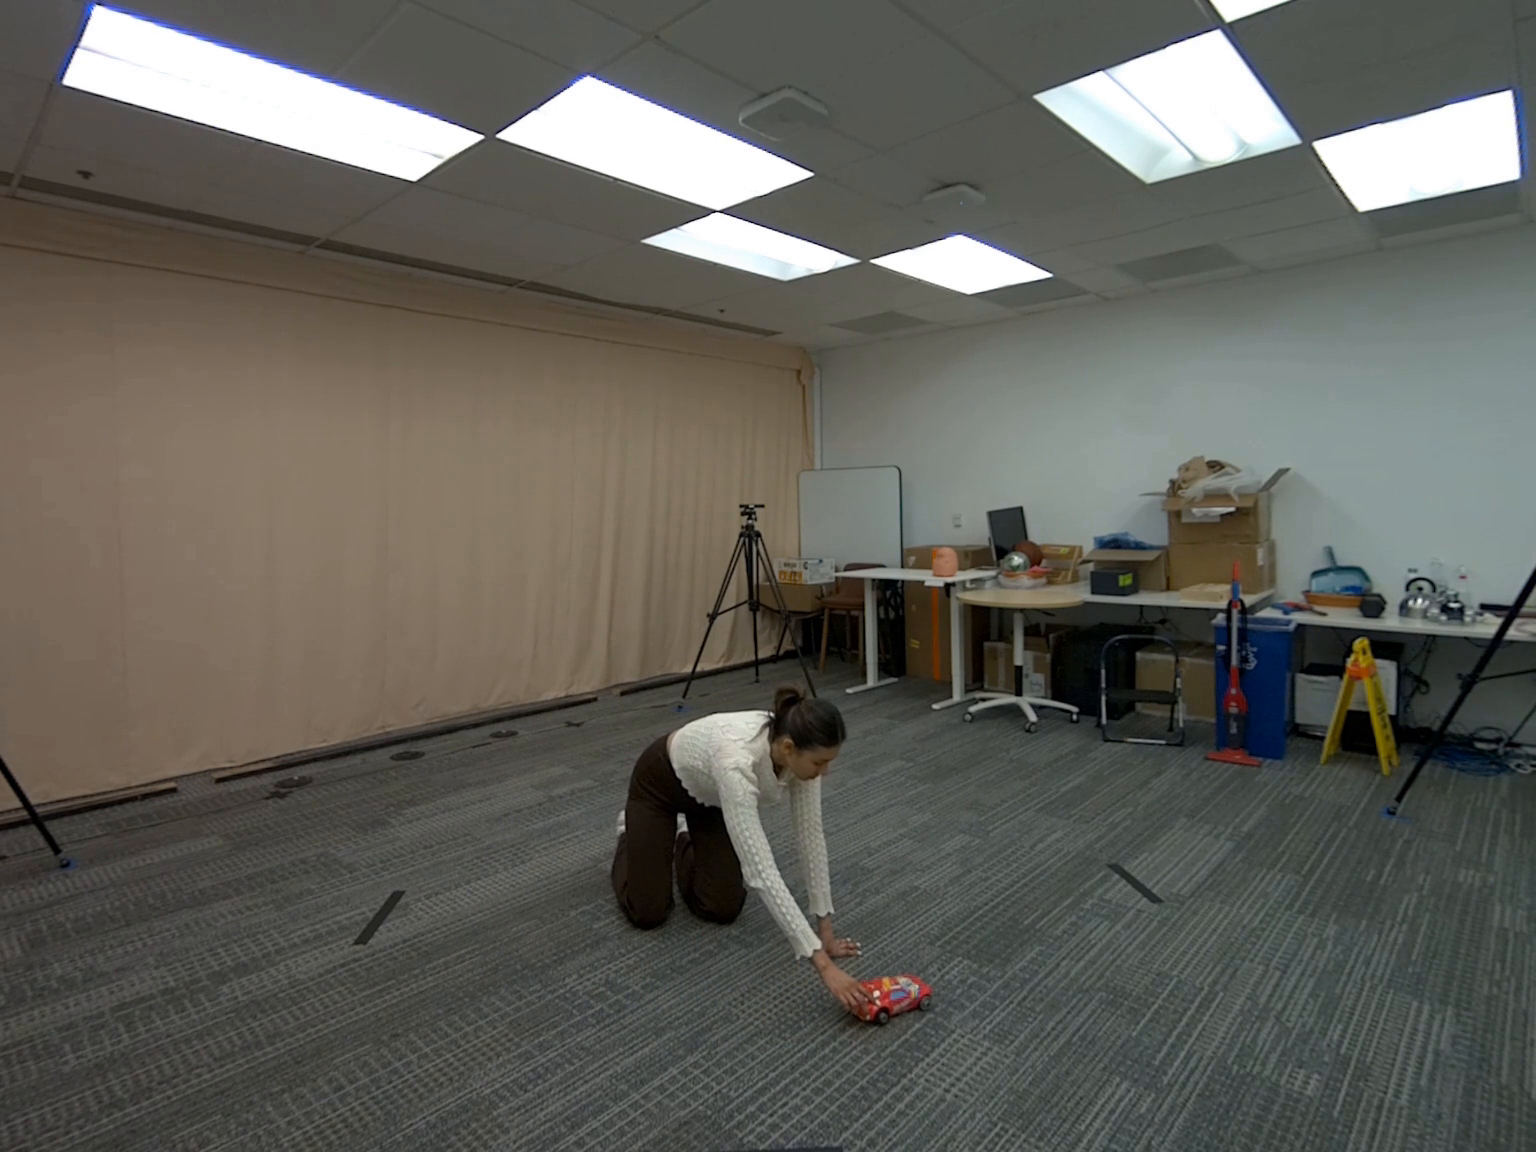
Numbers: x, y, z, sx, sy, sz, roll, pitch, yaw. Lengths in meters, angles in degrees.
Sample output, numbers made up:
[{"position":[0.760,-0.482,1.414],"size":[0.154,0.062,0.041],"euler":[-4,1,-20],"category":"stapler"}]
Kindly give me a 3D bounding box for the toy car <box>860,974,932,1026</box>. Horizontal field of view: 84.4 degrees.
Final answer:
[{"position":[0.326,1.162,2.309],"size":[0.248,0.083,0.134],"euler":[9,-1,-26],"category":"toy car"}]
